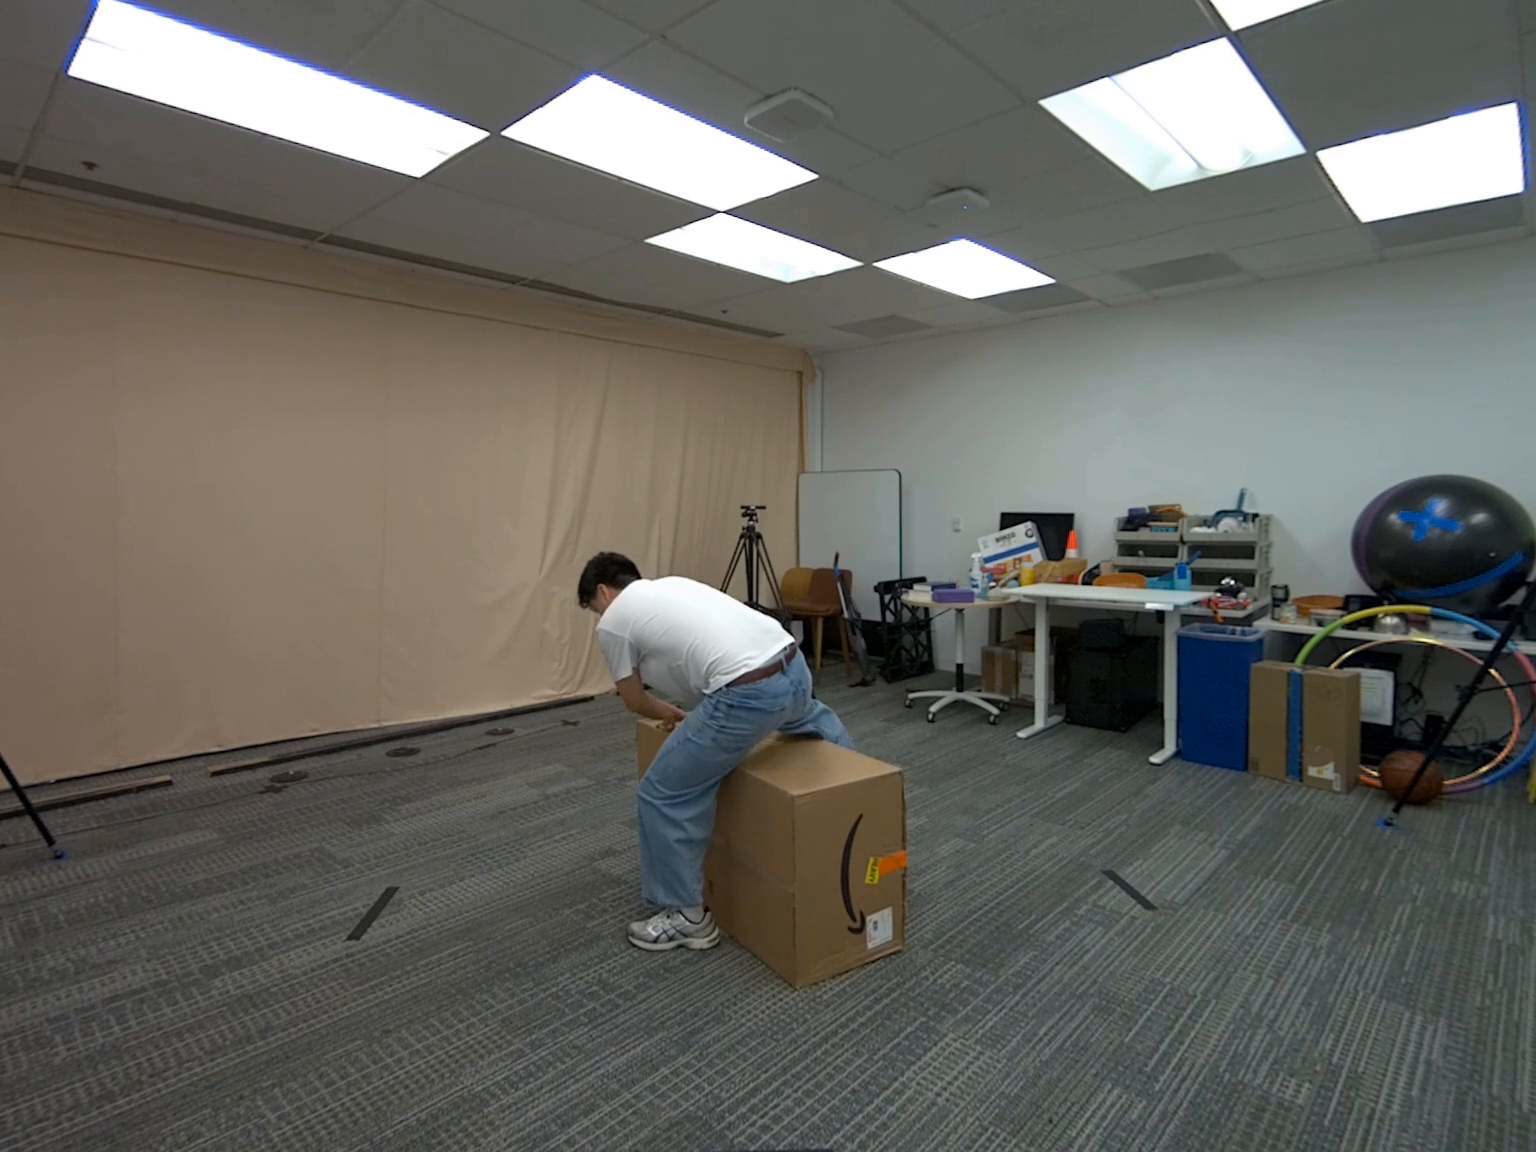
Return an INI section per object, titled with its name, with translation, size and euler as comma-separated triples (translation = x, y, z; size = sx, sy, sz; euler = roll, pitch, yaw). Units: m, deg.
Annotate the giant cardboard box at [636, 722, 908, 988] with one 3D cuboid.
[giant cardboard box]
translation = -0.033, 0.862, 2.941
size = 0.414, 0.576, 1.057
euler = -3, 5, -33
